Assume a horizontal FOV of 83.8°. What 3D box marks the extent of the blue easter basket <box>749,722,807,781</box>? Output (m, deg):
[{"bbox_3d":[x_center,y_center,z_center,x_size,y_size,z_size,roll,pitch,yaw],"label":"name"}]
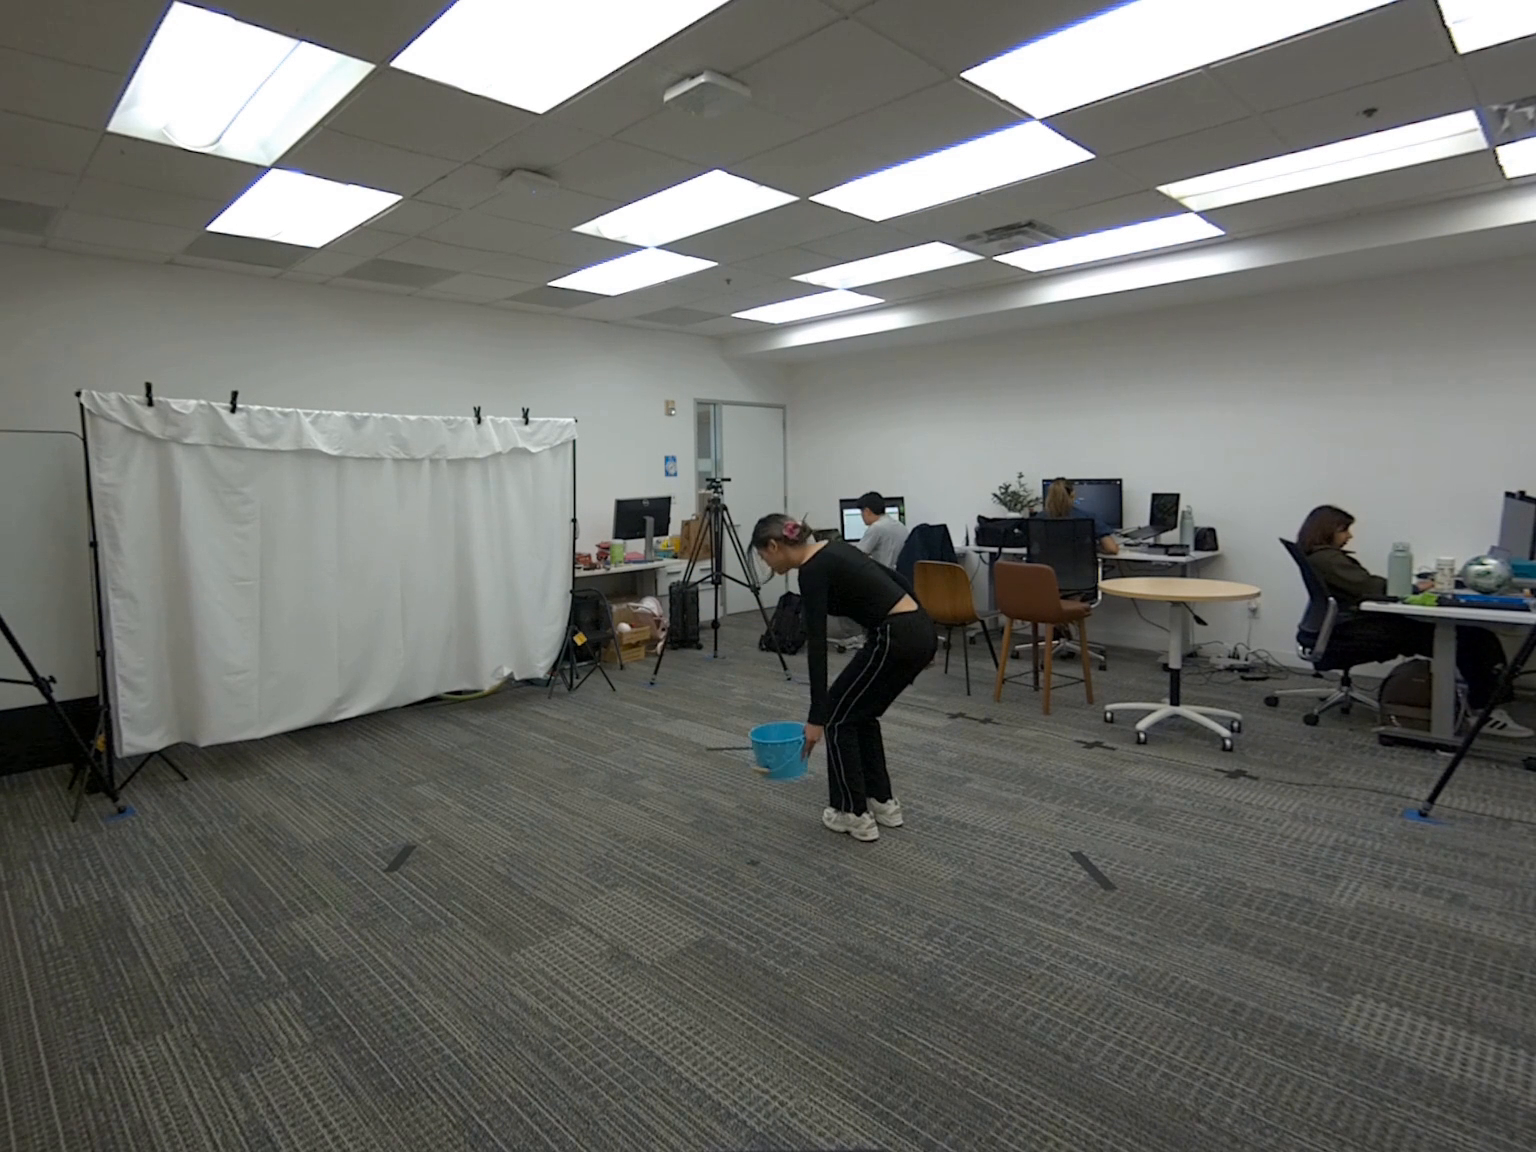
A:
[{"bbox_3d":[0.044,0.653,3.188,0.243,0.155,0.245,-4,6,-1],"label":"blue easter basket"}]
